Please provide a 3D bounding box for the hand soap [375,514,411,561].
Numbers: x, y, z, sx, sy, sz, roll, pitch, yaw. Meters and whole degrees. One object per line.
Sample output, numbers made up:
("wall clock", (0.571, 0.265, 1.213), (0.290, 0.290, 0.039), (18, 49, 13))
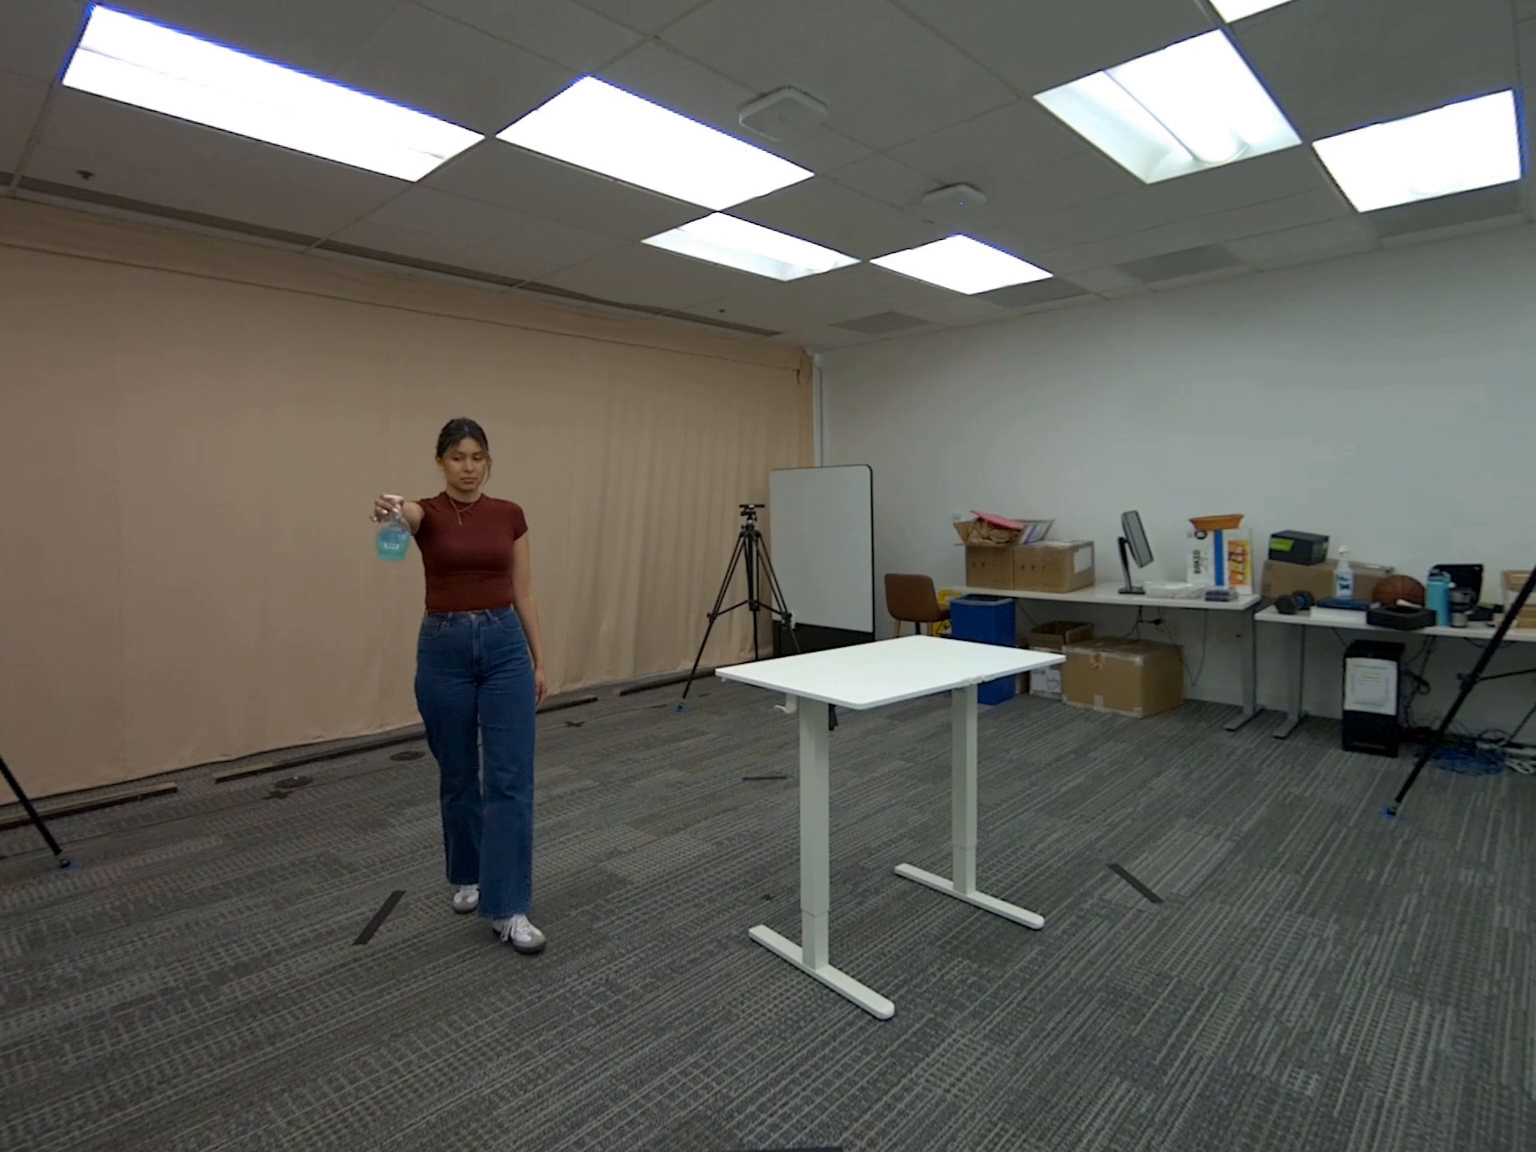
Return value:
("hand soap", (-0.976, -0.125, 2.177), (0.082, 0.168, 0.044), (4, 4, -24))
